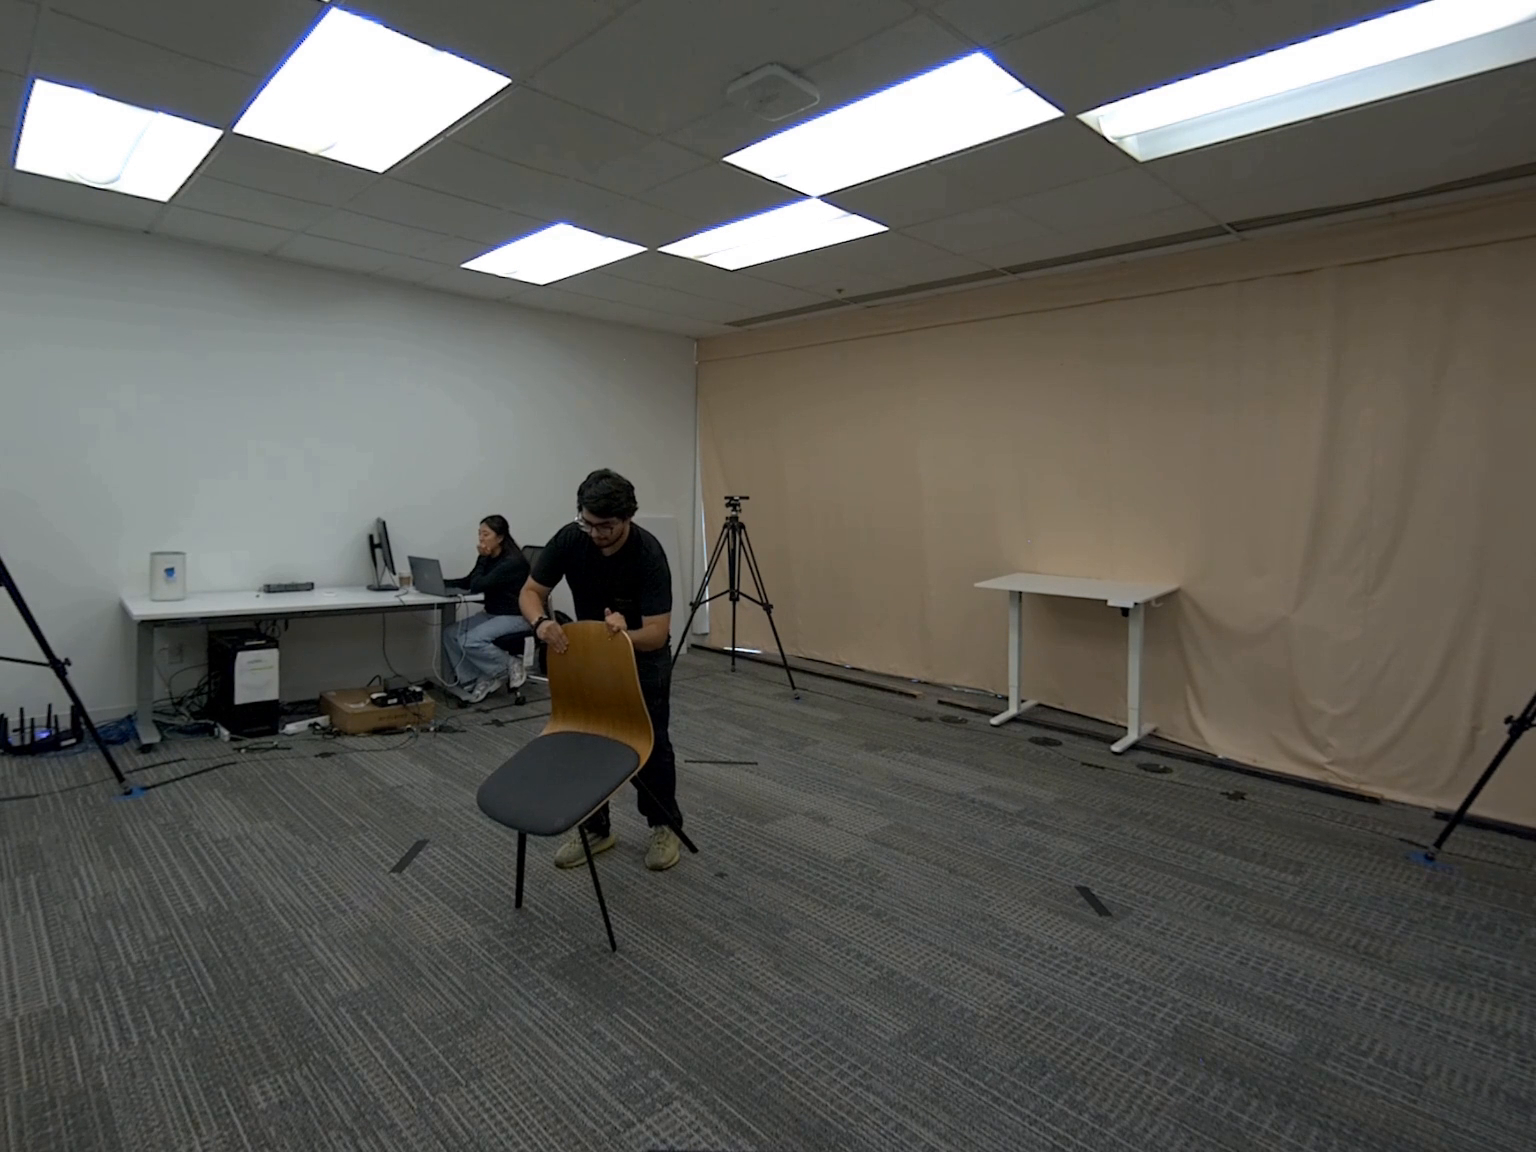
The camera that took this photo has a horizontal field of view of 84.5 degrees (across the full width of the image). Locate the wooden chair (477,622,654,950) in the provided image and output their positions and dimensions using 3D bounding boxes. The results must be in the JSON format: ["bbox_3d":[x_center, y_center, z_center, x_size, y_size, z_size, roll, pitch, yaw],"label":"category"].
[{"bbox_3d":[-0.626,0.653,2.691,0.489,0.864,0.518,5,22,33],"label":"wooden chair"}]
